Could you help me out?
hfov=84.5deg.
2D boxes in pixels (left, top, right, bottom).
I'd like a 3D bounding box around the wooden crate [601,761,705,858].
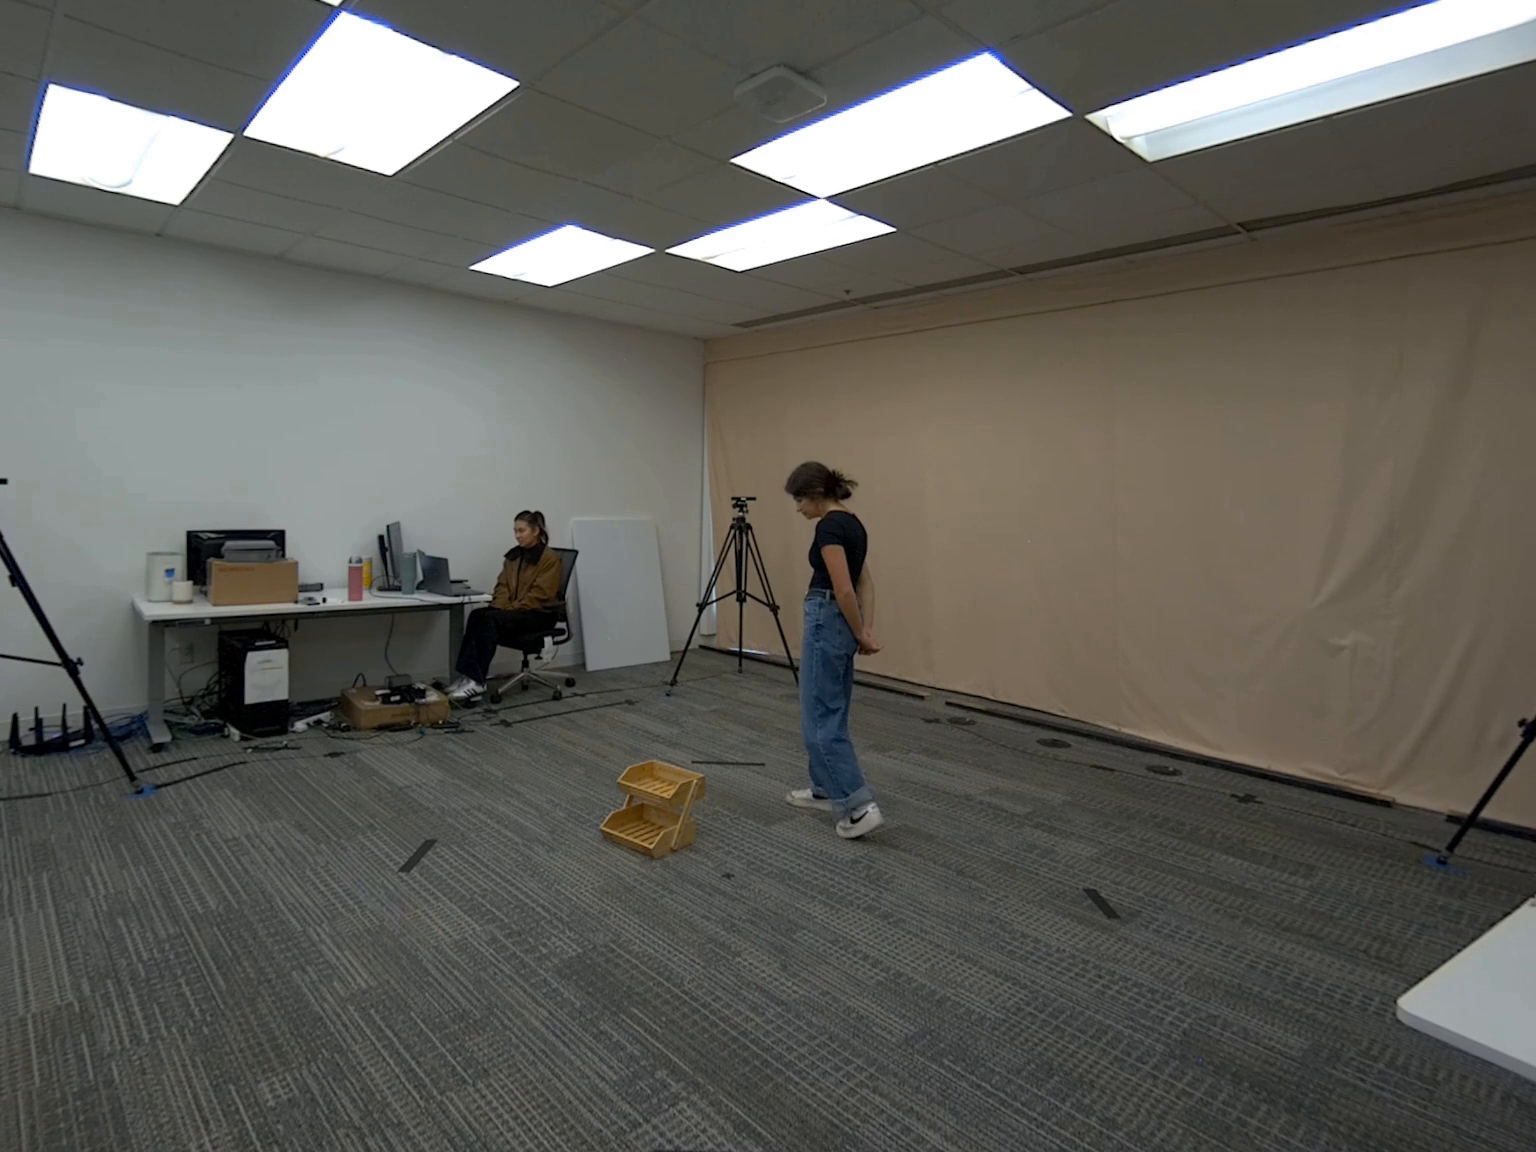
[{"bbox_3d":[-0.480,0.939,3.425,0.332,0.273,0.295,5,5,38],"label":"wooden crate"}]
